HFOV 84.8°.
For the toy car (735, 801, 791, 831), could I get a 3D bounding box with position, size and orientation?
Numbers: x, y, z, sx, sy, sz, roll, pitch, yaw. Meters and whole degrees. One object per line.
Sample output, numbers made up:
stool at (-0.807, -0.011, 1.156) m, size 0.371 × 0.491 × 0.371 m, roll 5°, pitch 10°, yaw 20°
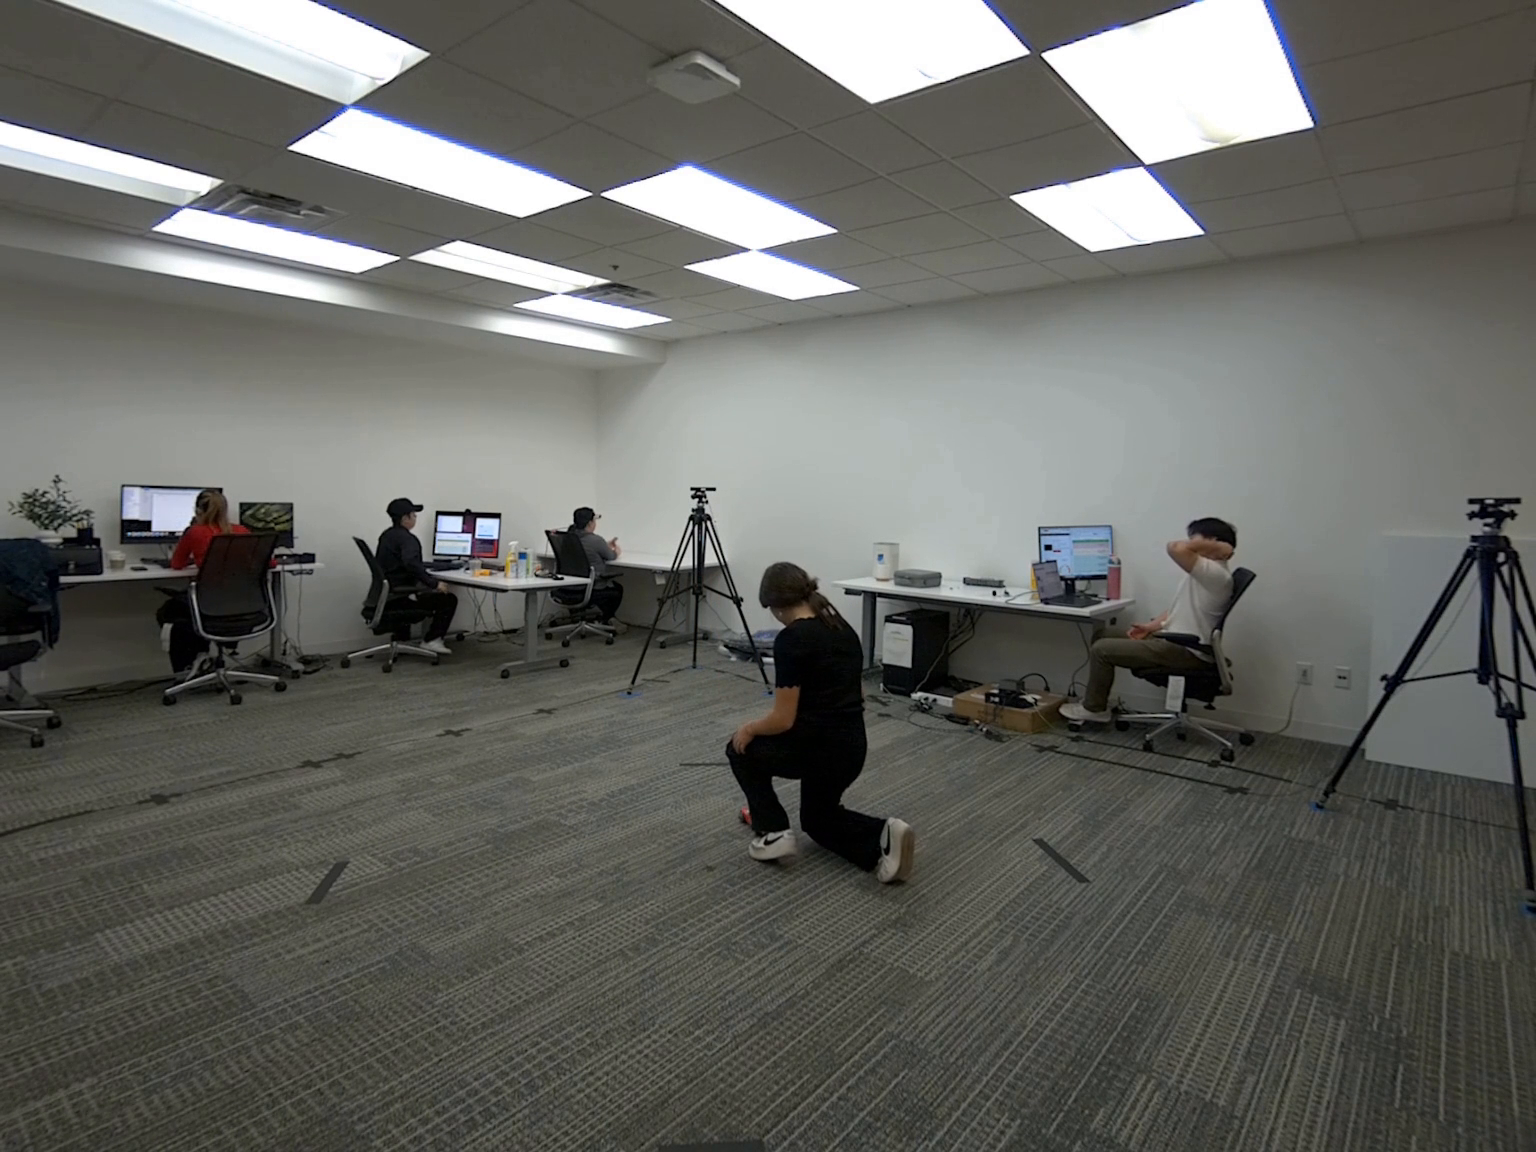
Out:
toy car at (-0.026, 0.994, 3.478) m, size 0.127 × 0.084 × 0.259 m, roll 1°, pitch -5°, yaw -24°
